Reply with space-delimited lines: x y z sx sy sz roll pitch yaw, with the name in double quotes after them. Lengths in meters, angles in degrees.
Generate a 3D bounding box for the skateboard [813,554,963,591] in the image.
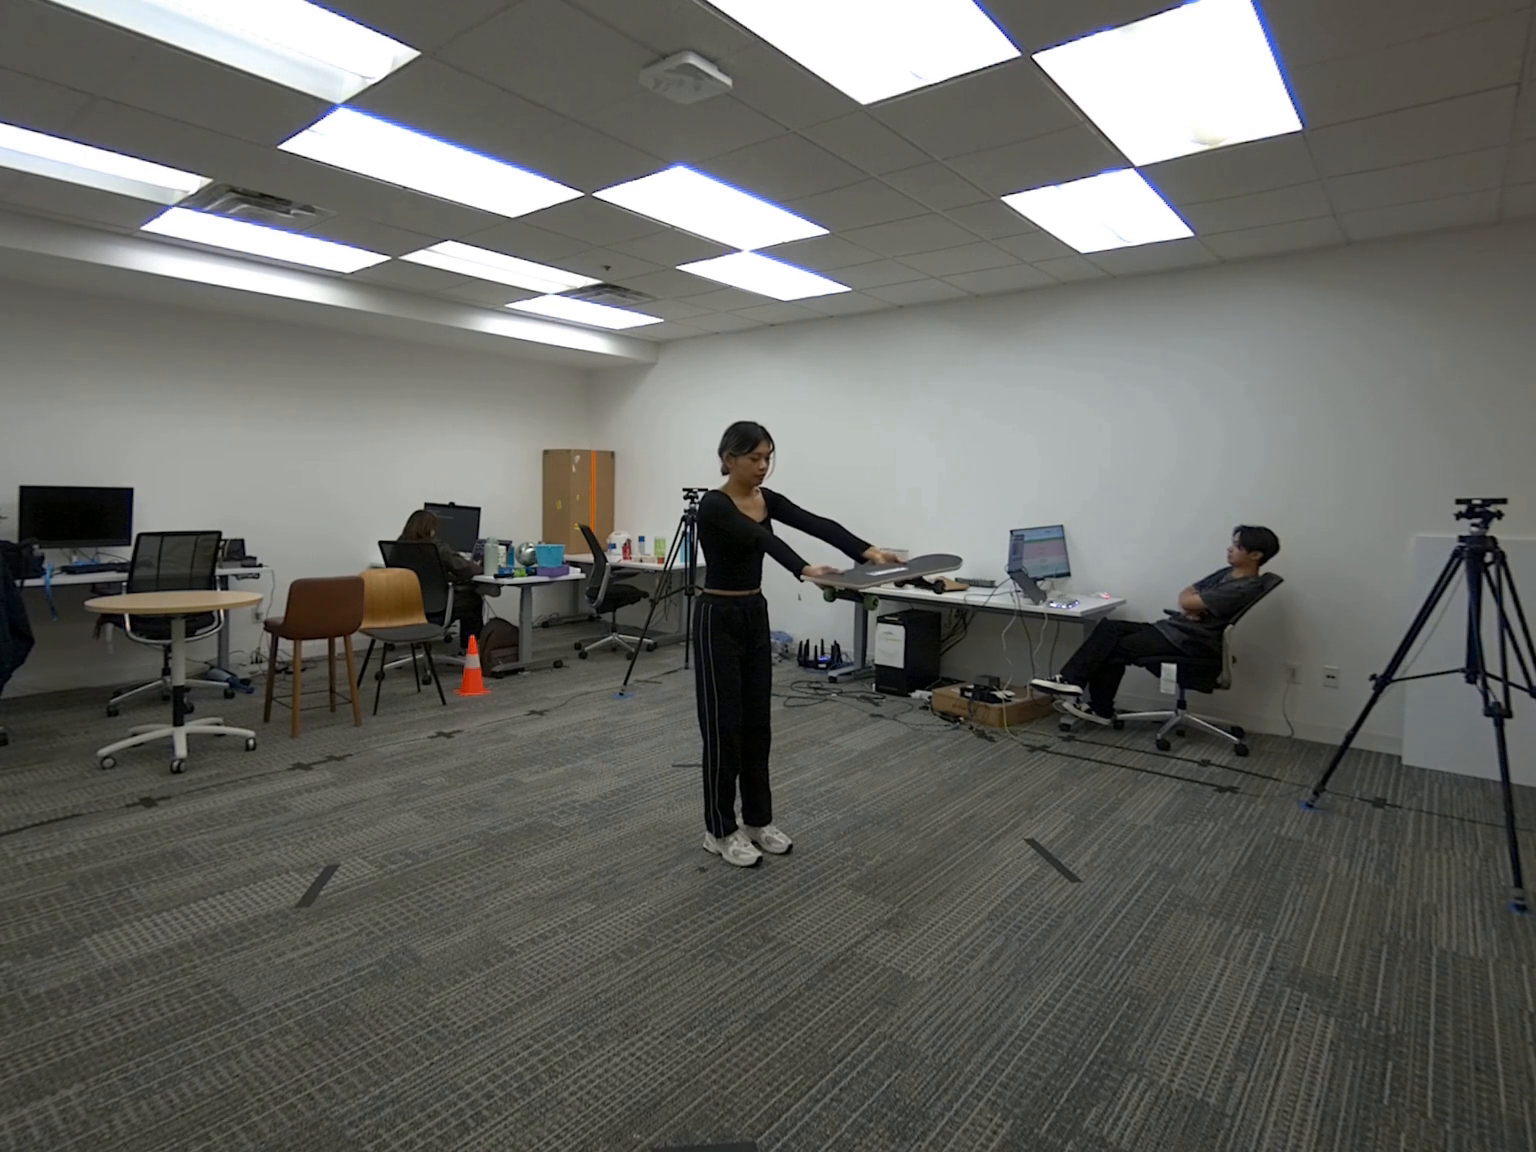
0.387 0.024 2.752 0.201 0.109 0.763 14 15 42 "skateboard"
